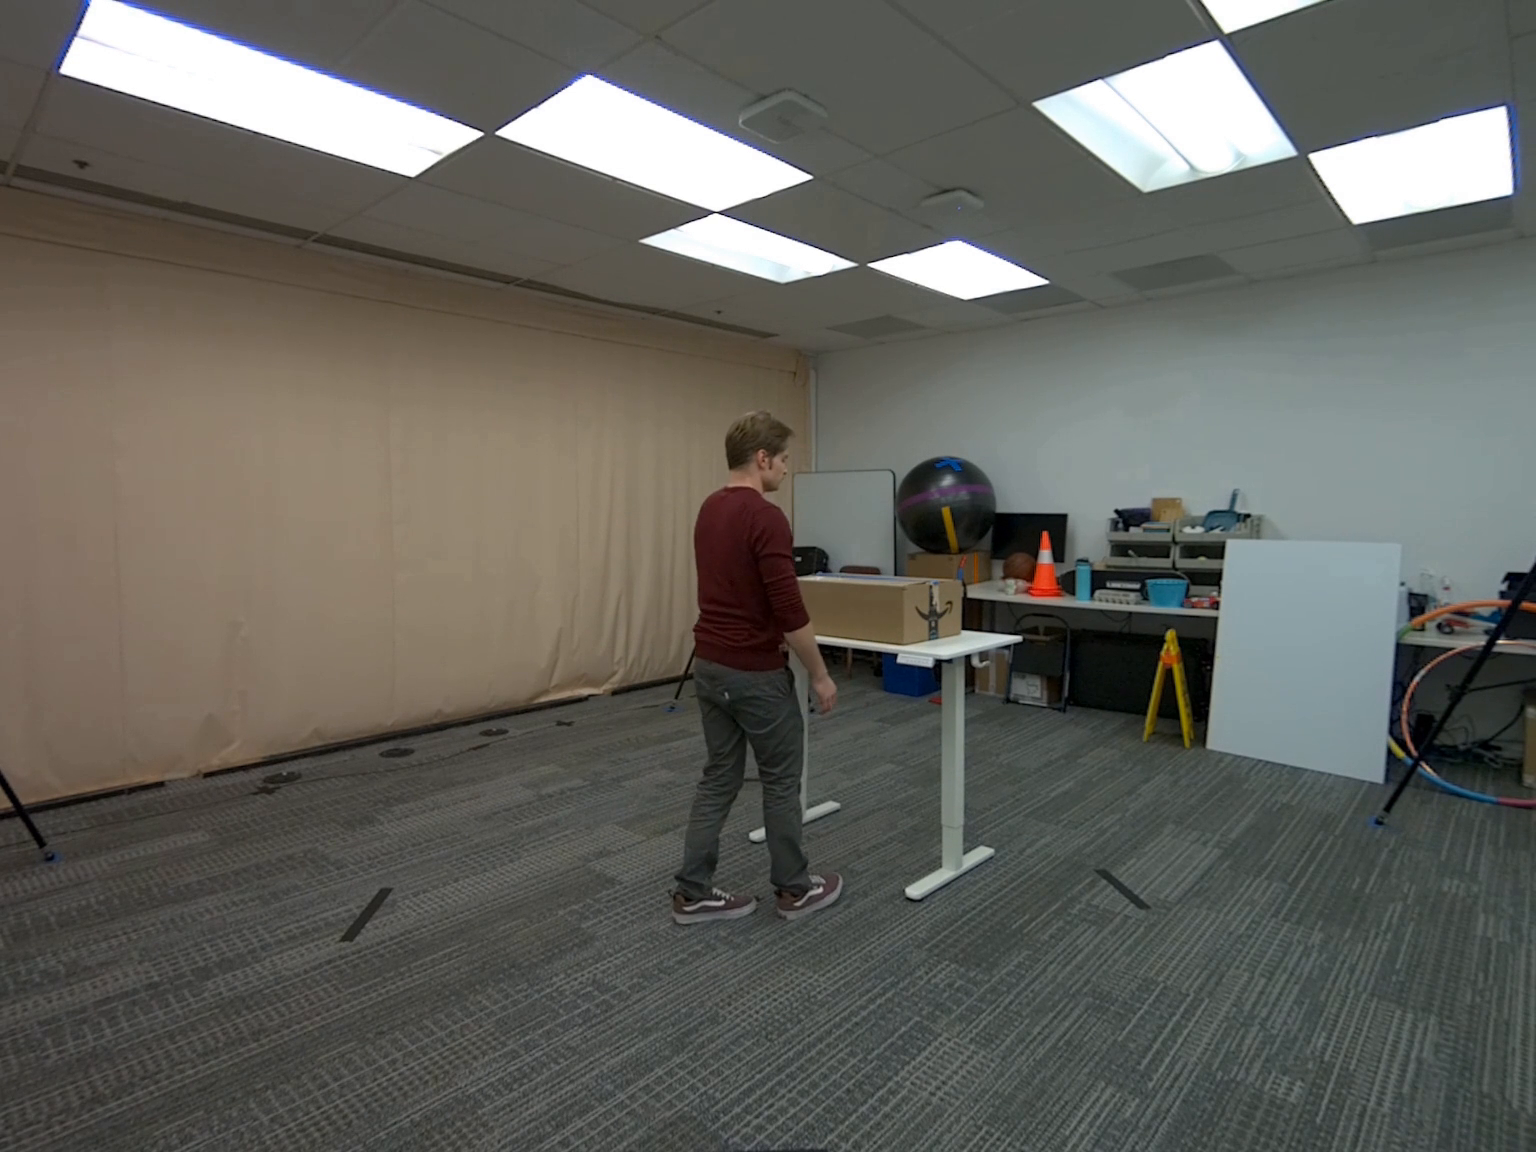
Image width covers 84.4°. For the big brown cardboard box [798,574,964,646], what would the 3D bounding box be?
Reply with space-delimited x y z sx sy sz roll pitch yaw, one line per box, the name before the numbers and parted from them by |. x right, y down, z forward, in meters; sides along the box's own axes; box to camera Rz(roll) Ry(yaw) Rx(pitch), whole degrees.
big brown cardboard box | 0.410 0.118 3.368 0.609 0.233 0.405 4 5 43
